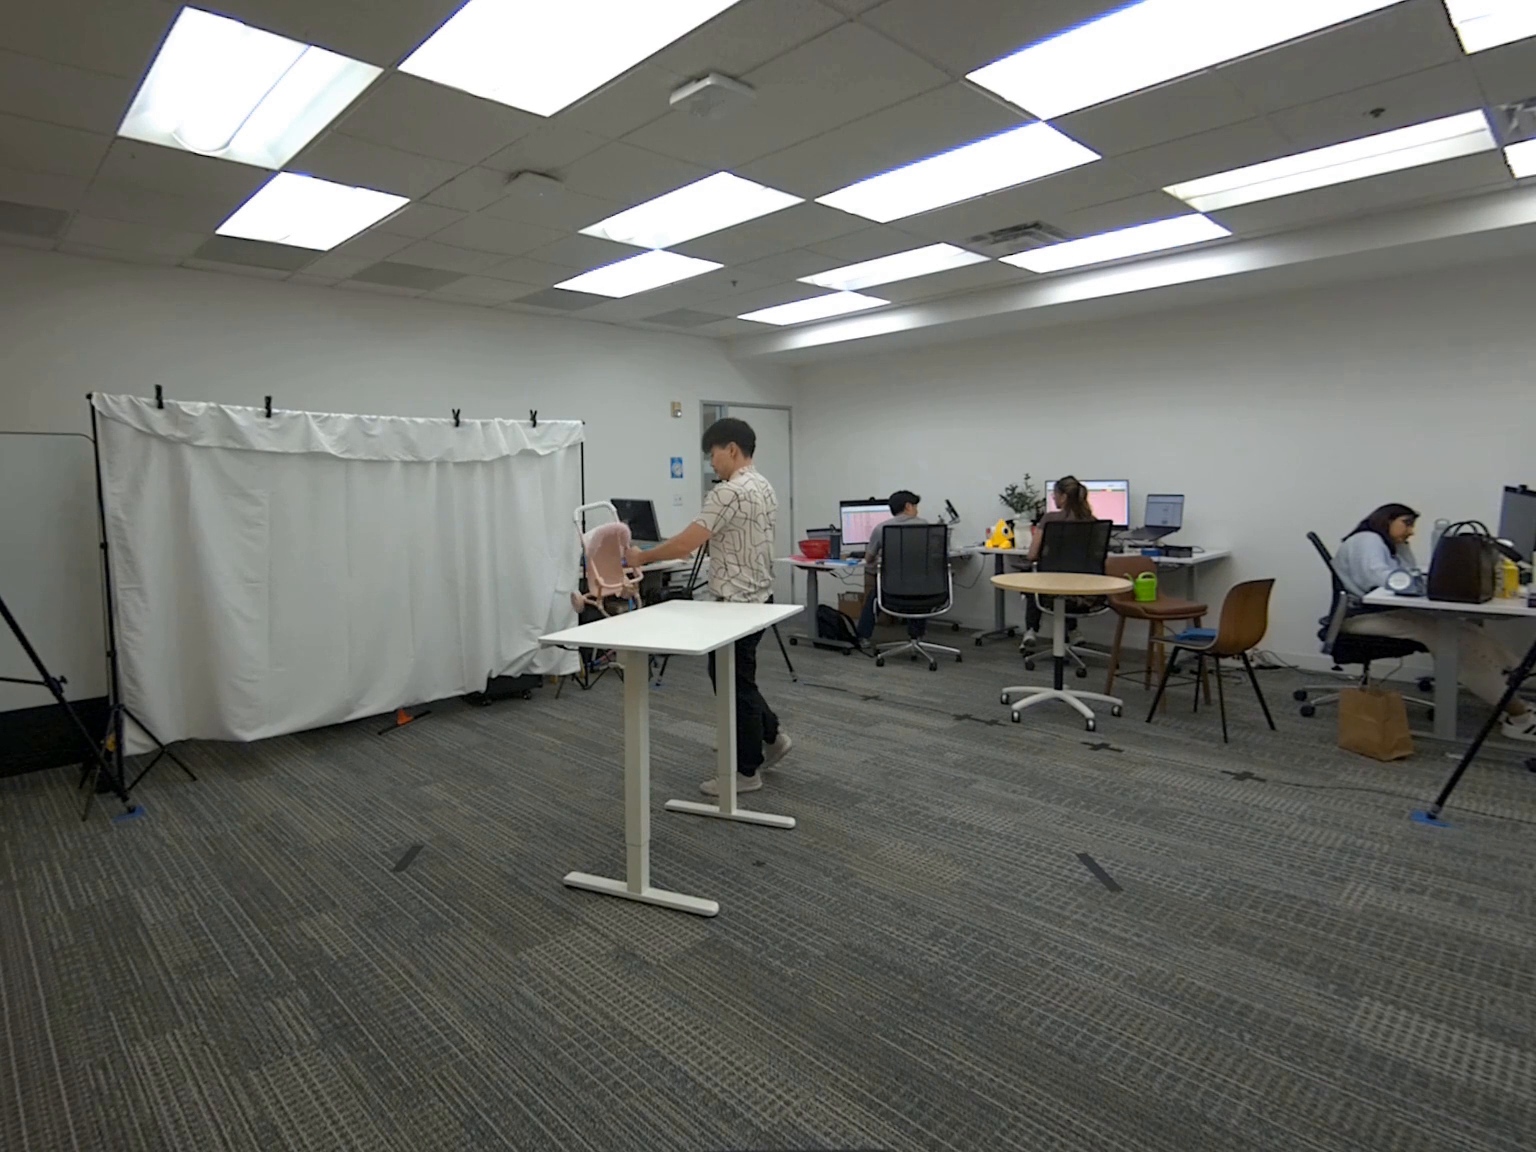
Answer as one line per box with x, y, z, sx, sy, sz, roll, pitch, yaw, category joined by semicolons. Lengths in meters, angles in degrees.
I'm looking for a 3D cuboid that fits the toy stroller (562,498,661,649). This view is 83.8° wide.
-0.694;-0.022;3.798;0.276;0.525;0.354;-13;25;-31;toy stroller
